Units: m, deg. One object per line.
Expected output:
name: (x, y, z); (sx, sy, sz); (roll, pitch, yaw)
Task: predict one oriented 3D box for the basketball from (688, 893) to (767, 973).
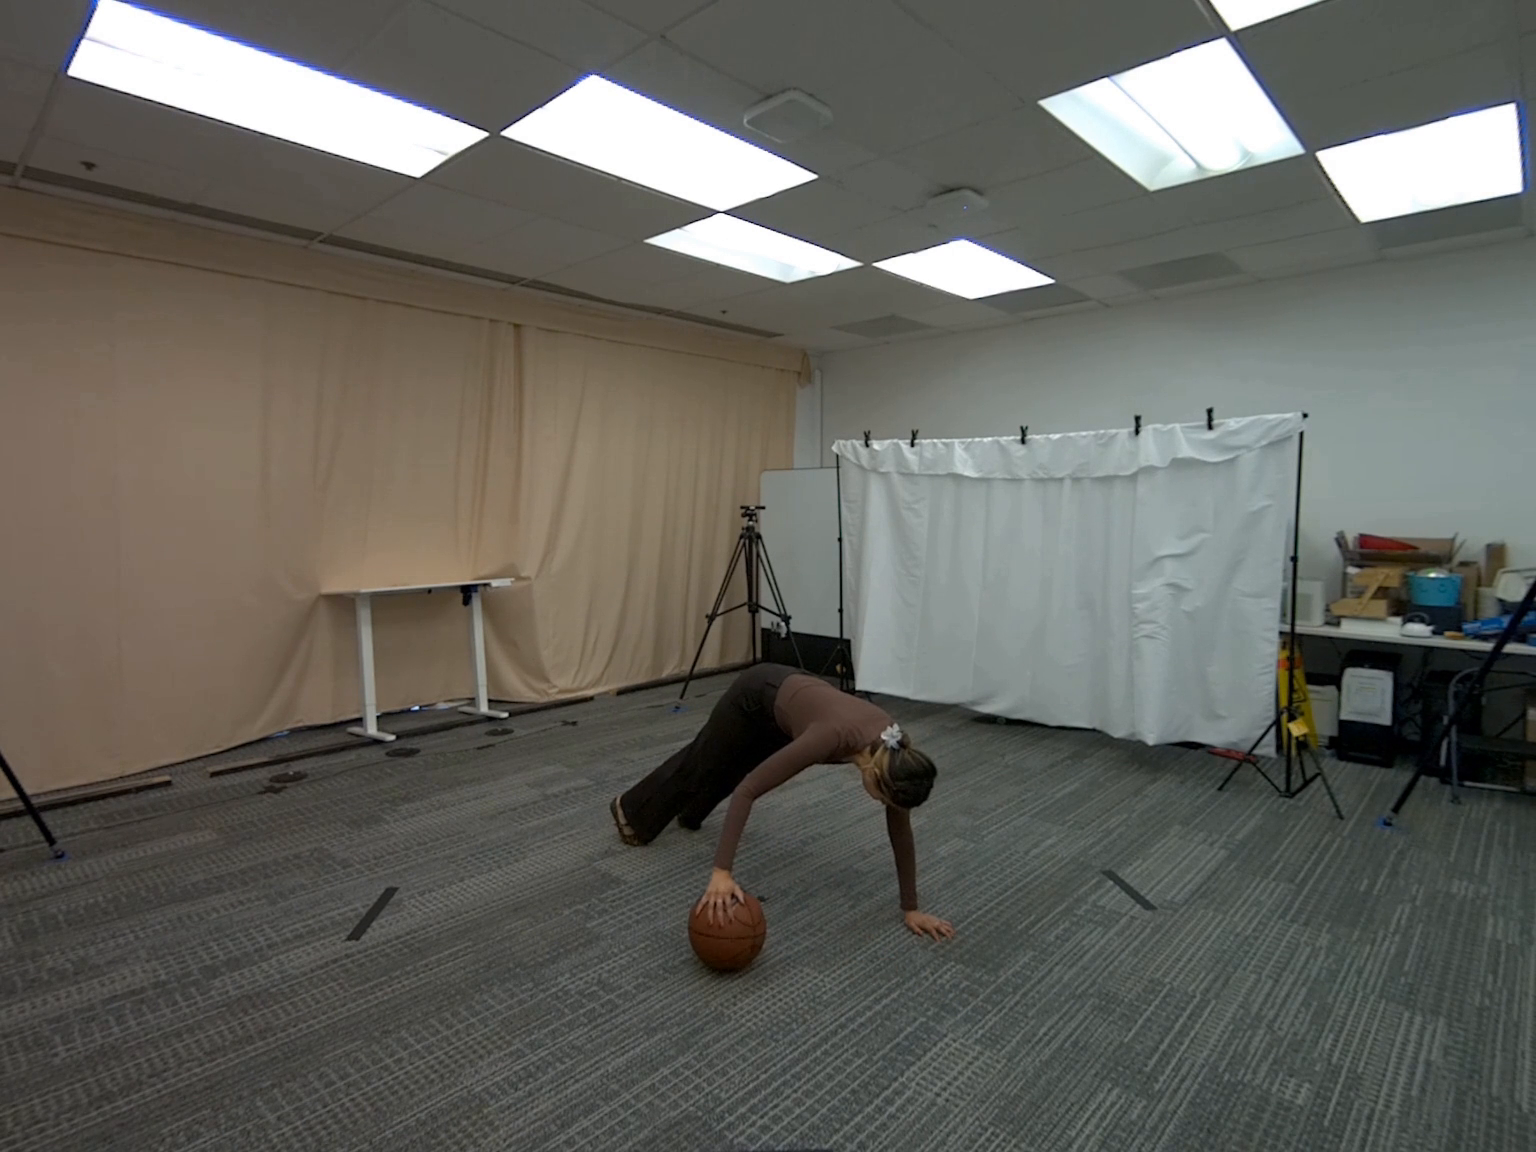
basketball: (-0.120, 1.052, 2.555); (0.236, 0.235, 0.237); (0, 4, -2)
